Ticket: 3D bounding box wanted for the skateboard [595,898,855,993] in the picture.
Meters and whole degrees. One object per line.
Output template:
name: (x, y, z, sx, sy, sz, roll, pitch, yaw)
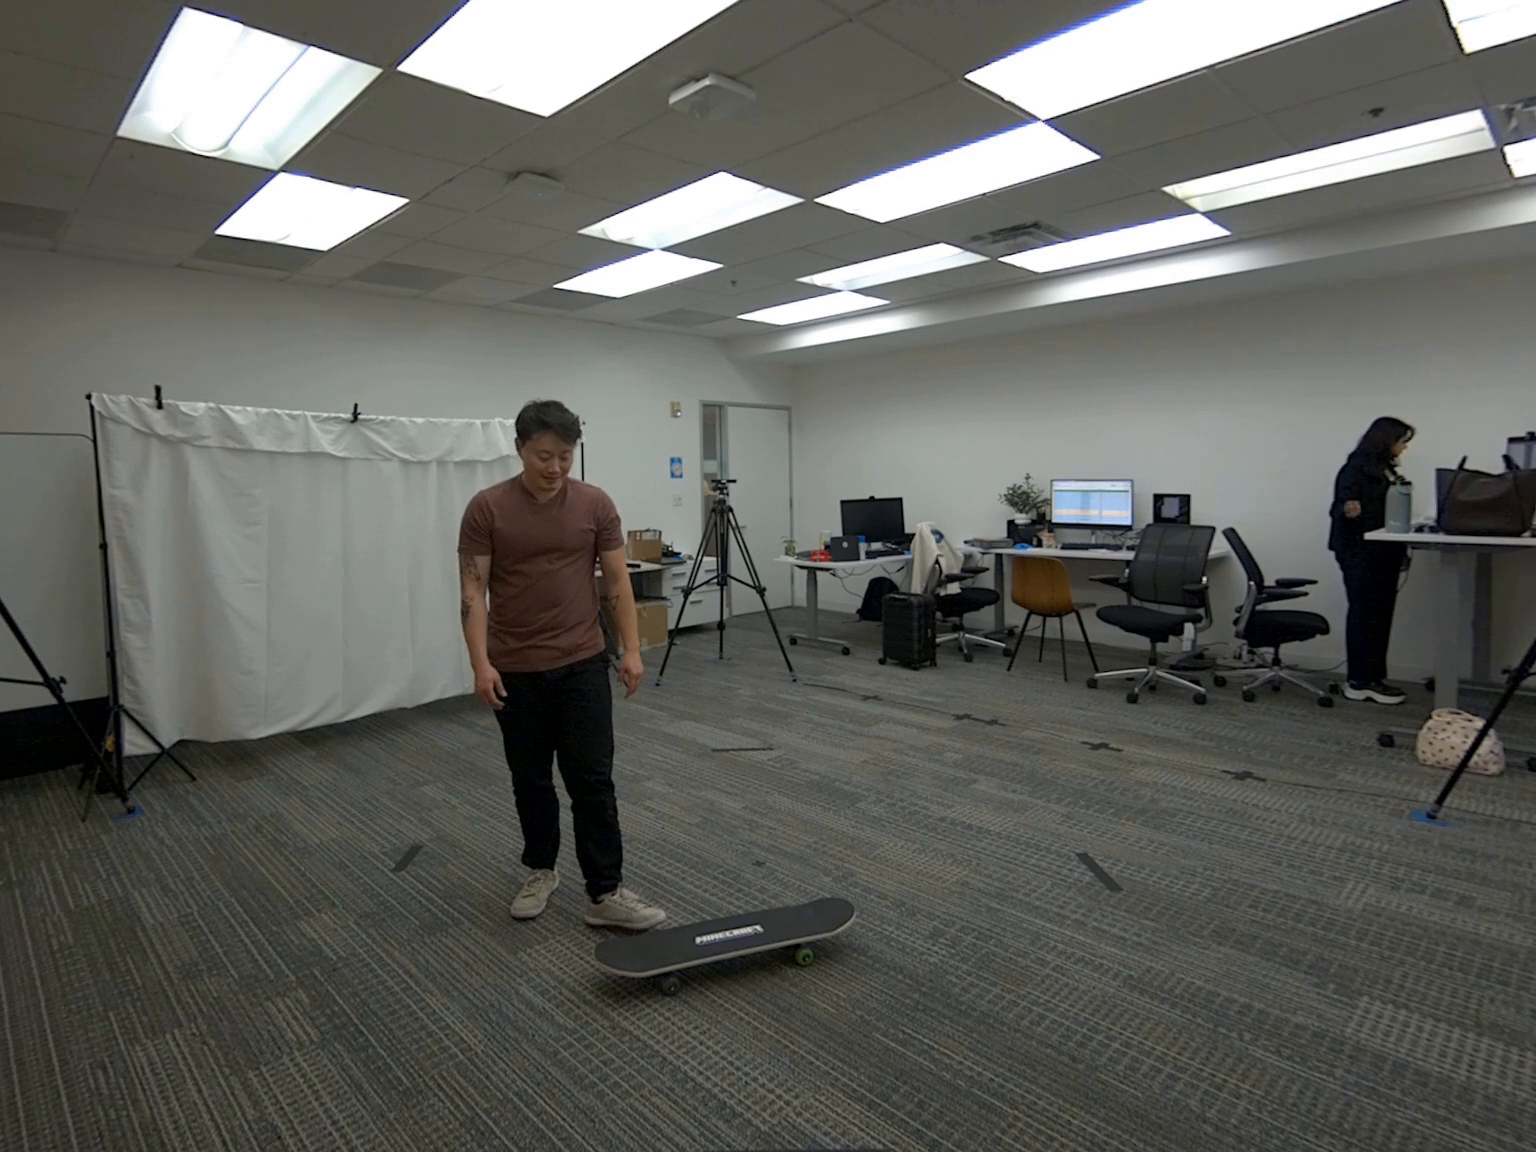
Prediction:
skateboard: (-0.108, 1.068, 2.466, 0.773, 0.110, 0.197, -3, 6, -18)
